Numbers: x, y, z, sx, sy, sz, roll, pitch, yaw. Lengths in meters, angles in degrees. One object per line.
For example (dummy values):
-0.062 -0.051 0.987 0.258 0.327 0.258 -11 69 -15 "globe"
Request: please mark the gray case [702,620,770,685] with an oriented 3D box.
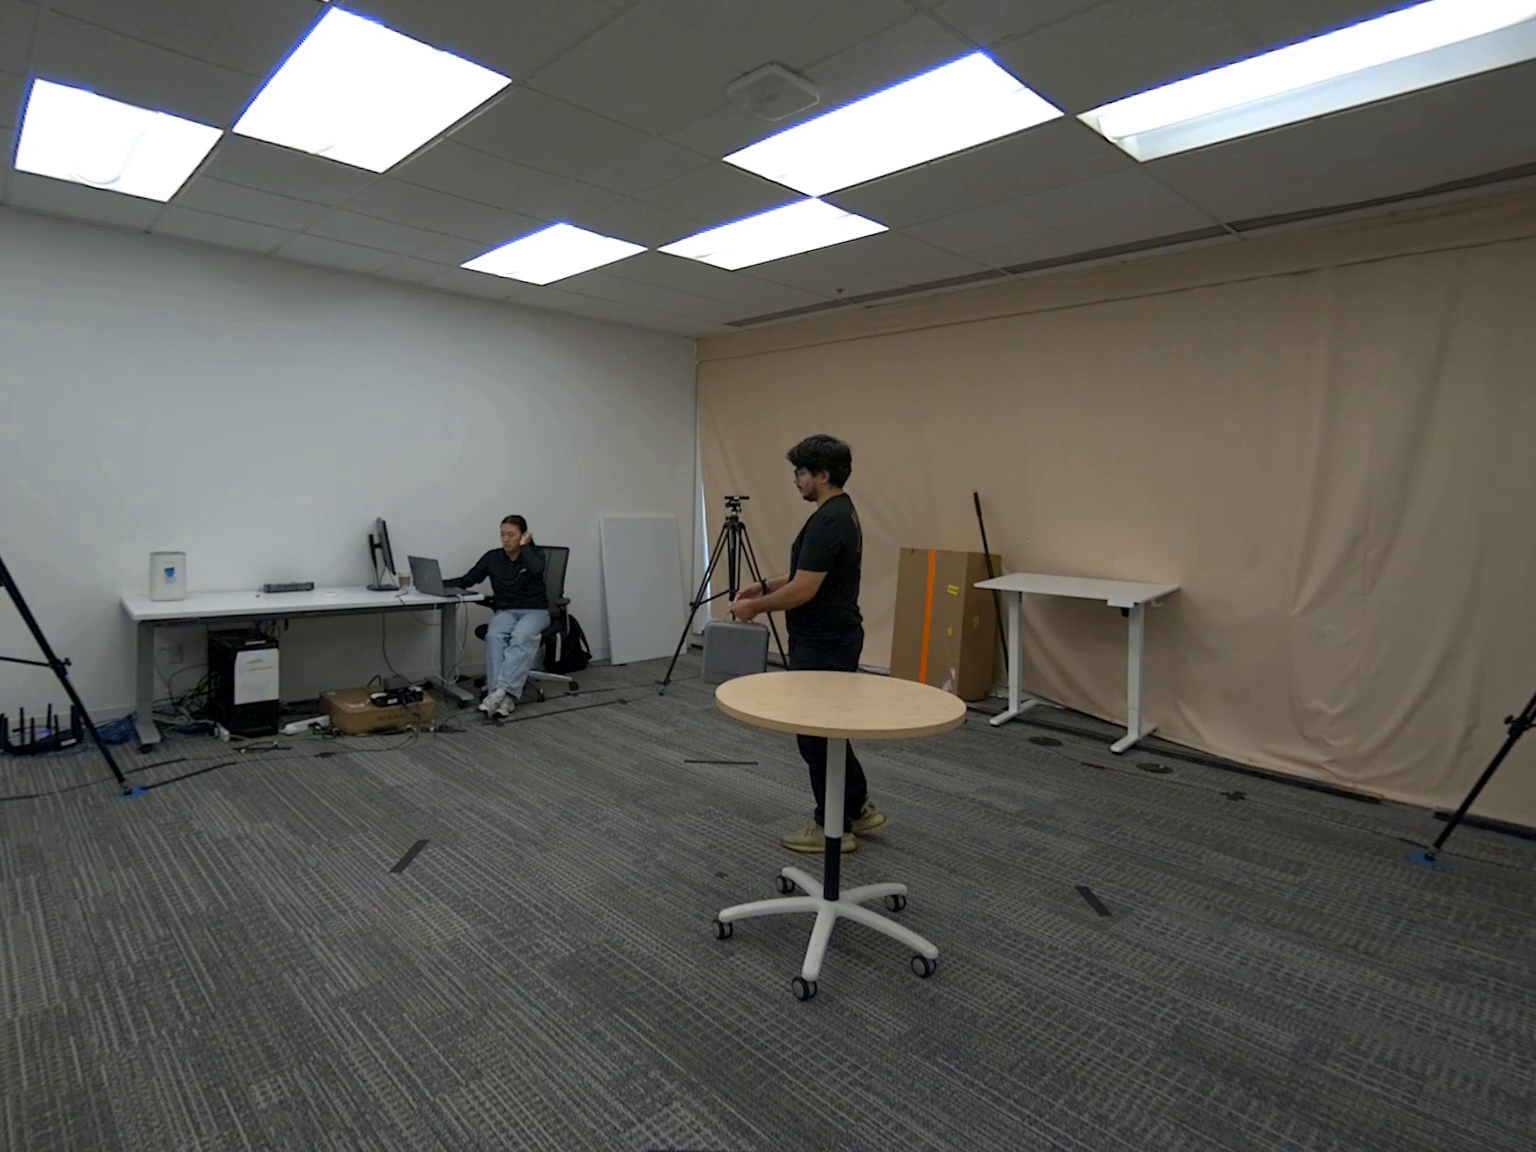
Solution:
-0.138 0.303 3.341 0.258 0.259 0.104 6 7 4 "gray case"
